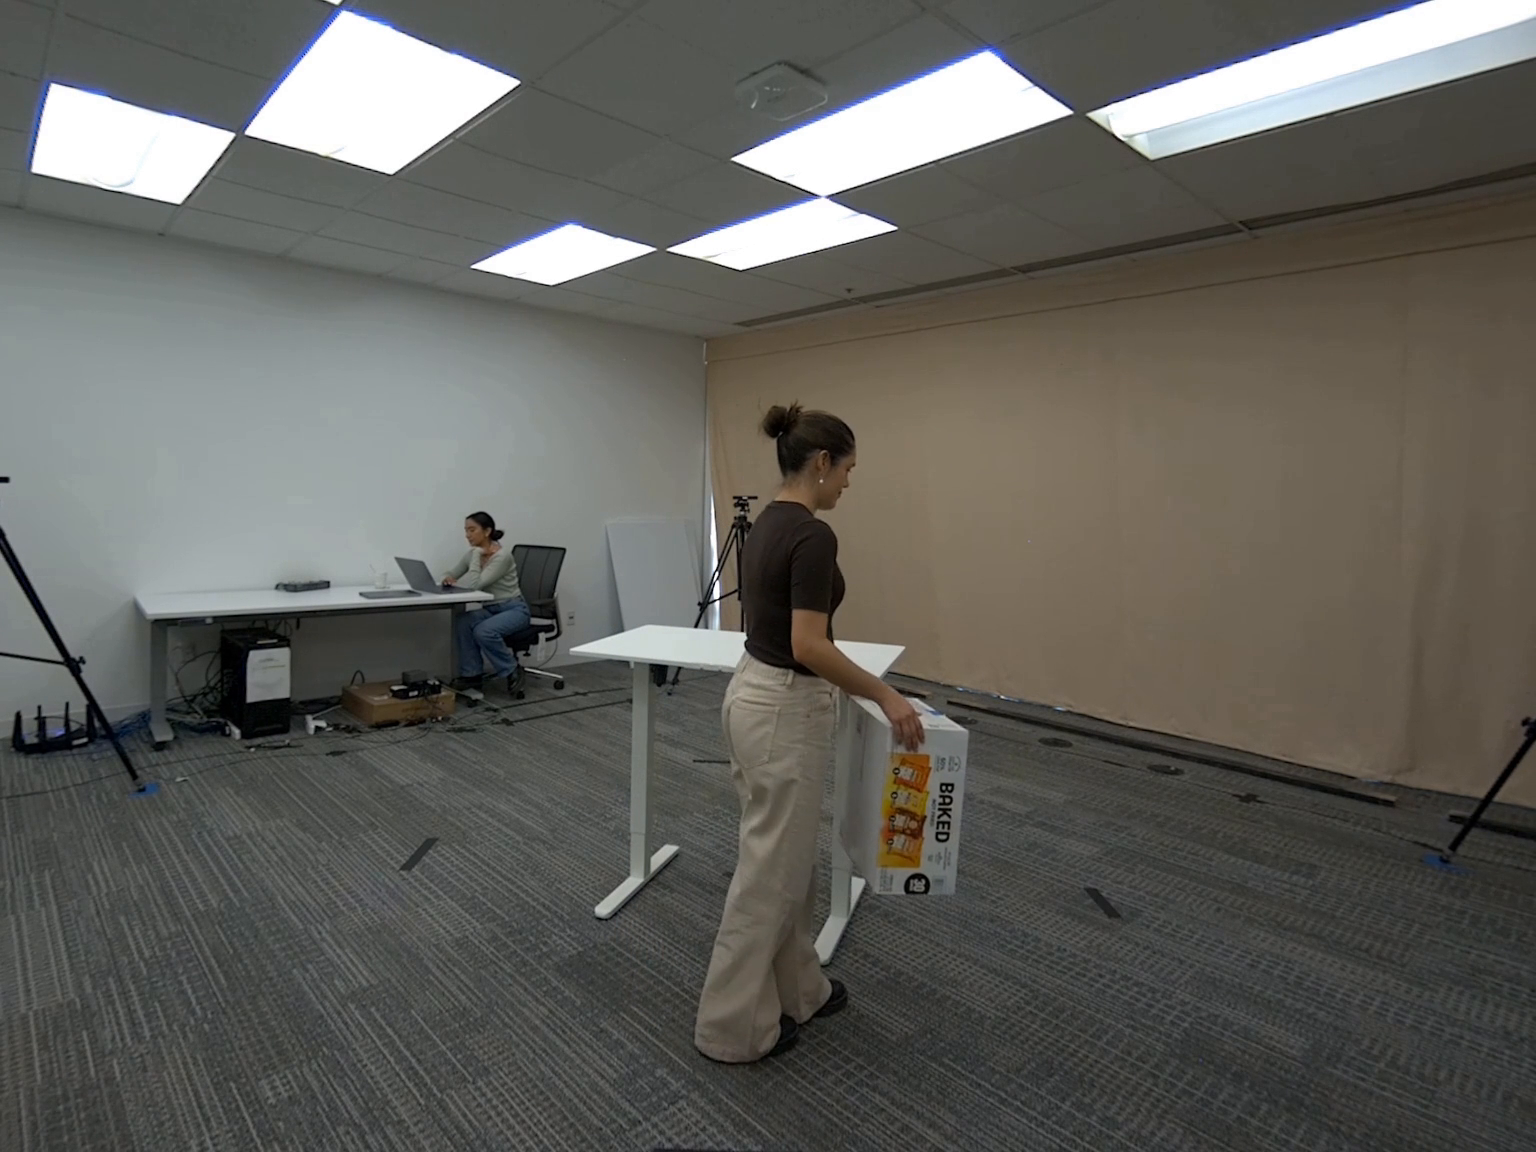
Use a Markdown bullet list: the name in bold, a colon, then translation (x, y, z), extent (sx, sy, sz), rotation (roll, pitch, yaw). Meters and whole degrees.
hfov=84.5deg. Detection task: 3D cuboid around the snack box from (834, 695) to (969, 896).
- **snack box**: translation (0.333, 0.552, 2.168), extent (0.204, 0.404, 0.344), rotation (4, 4, -10)
